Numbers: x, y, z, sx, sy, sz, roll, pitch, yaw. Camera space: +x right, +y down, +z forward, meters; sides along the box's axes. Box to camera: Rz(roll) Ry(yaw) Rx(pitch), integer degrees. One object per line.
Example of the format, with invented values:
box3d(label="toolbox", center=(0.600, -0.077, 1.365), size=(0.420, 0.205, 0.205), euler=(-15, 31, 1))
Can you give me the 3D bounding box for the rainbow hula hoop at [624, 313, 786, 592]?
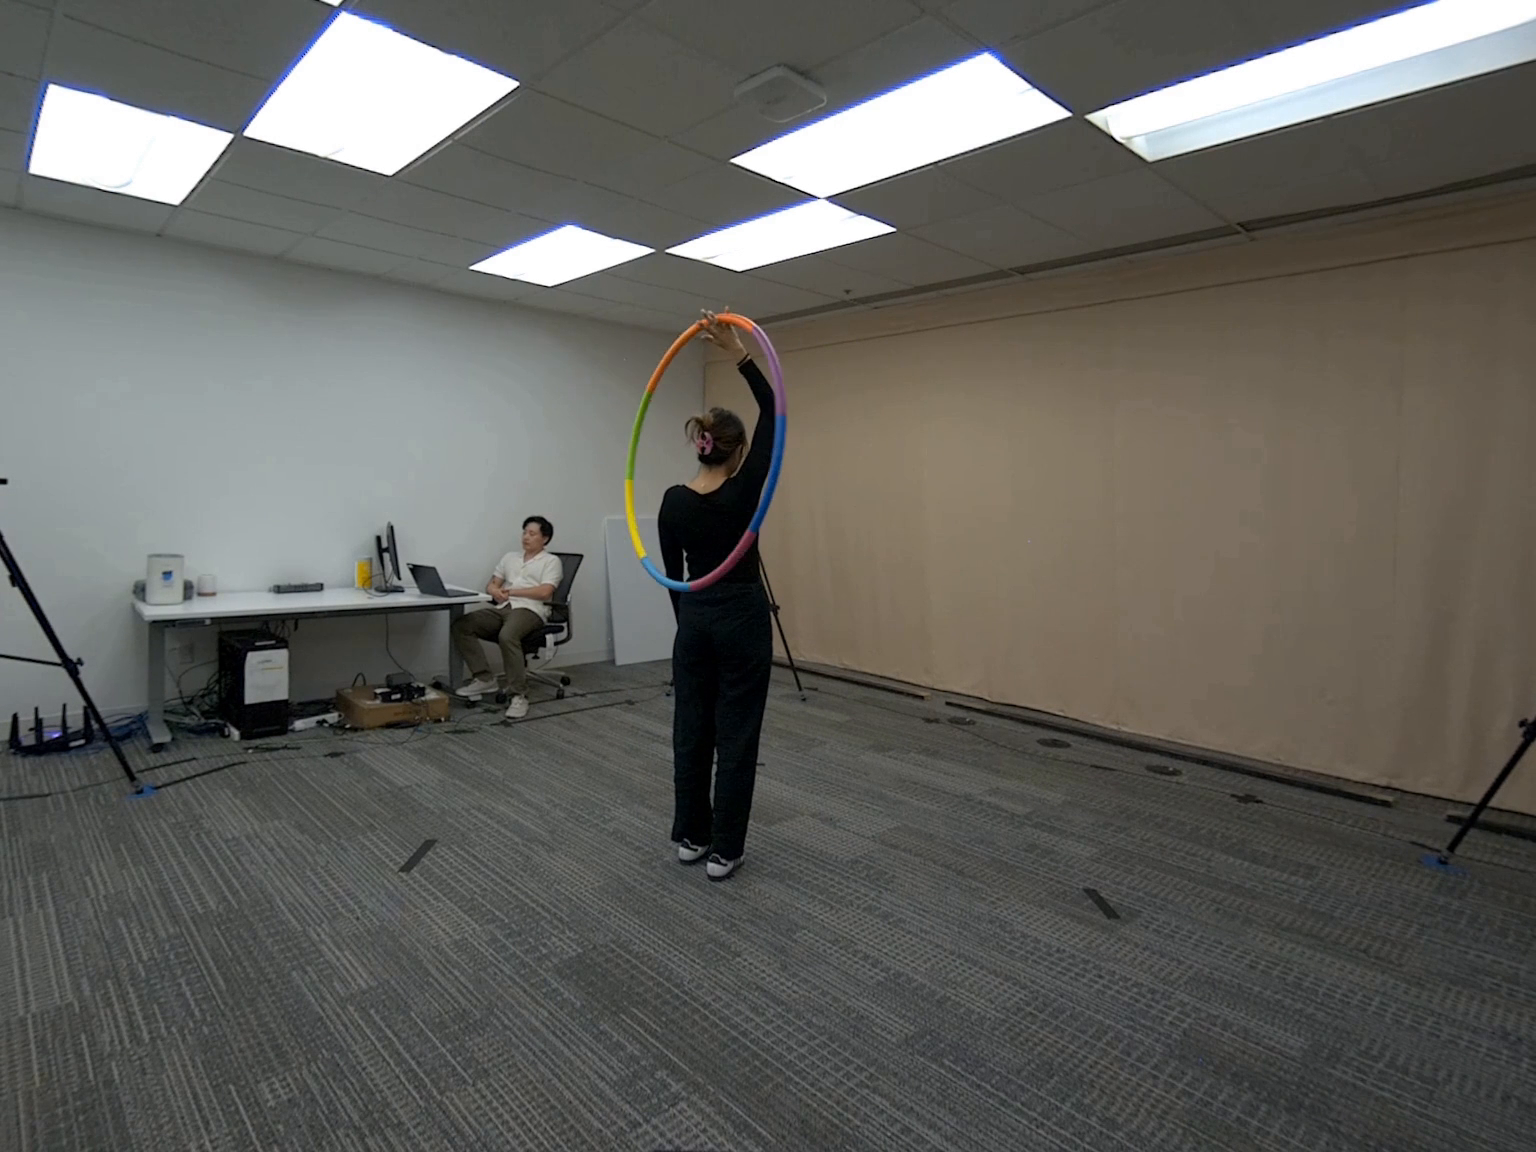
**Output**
box3d(label="rainbow hula hoop", center=(-0.255, -0.444, 2.994), size=(0.050, 0.986, 1.010), euler=(8, -1, -37))
